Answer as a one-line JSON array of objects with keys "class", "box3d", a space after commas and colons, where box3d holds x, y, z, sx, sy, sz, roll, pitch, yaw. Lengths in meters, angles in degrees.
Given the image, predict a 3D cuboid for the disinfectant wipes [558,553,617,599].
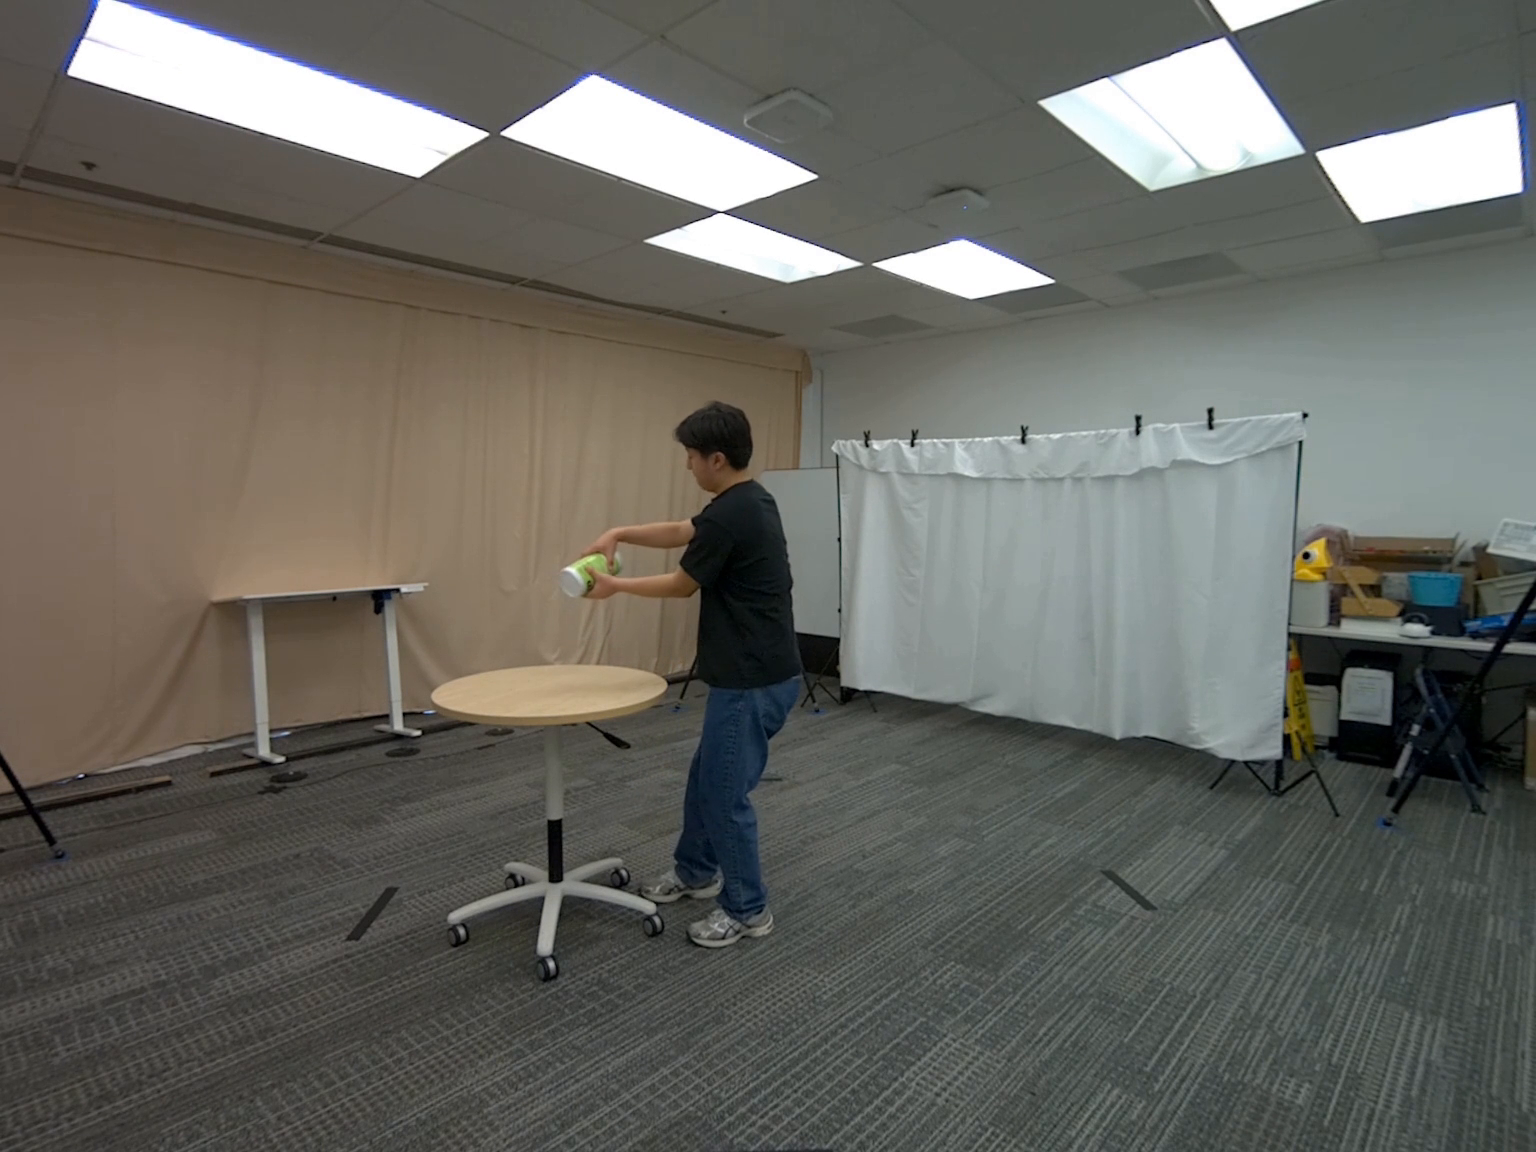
[{"class": "disinfectant wipes", "box3d": [-0.599, -0.013, 2.871, 0.121, 0.116, 0.214, 3, 25, 37]}]
